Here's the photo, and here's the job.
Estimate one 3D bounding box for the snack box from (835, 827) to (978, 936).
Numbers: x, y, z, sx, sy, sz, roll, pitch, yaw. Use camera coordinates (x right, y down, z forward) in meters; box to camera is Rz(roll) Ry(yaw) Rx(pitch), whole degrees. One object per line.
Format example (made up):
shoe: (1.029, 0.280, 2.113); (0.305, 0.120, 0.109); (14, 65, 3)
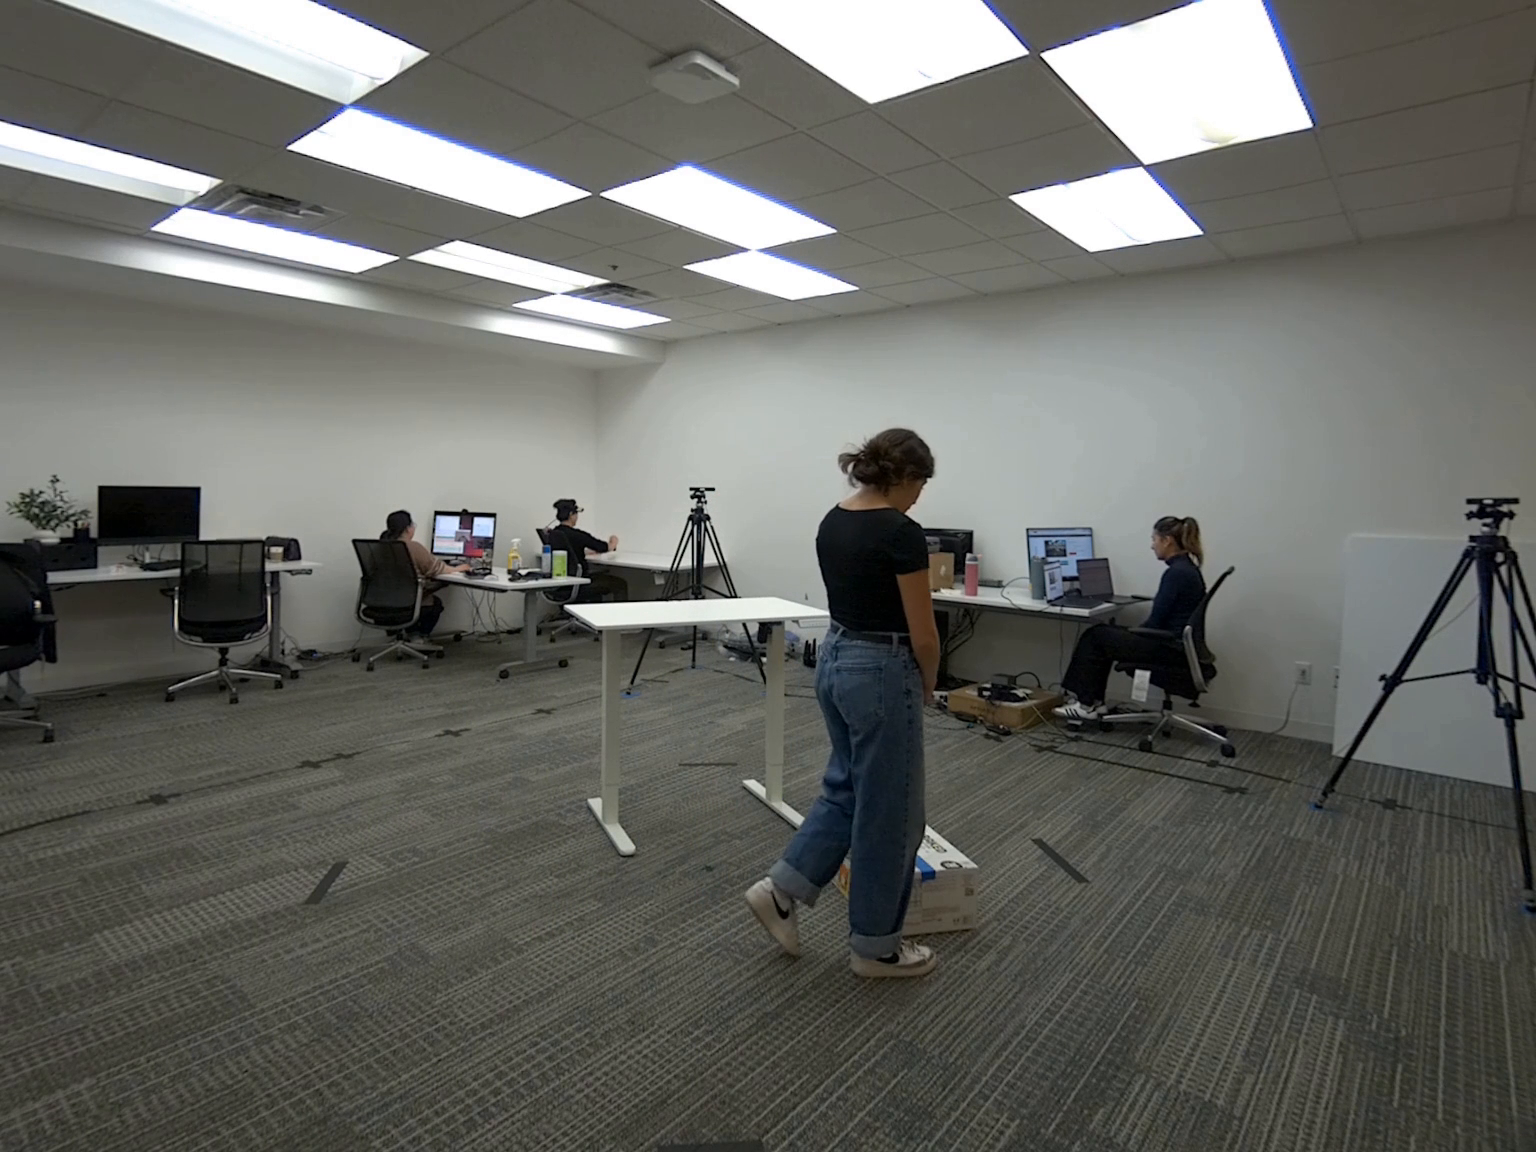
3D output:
snack box: (0.445, 1.003, 2.868); (0.335, 0.205, 0.413); (0, 6, -16)
